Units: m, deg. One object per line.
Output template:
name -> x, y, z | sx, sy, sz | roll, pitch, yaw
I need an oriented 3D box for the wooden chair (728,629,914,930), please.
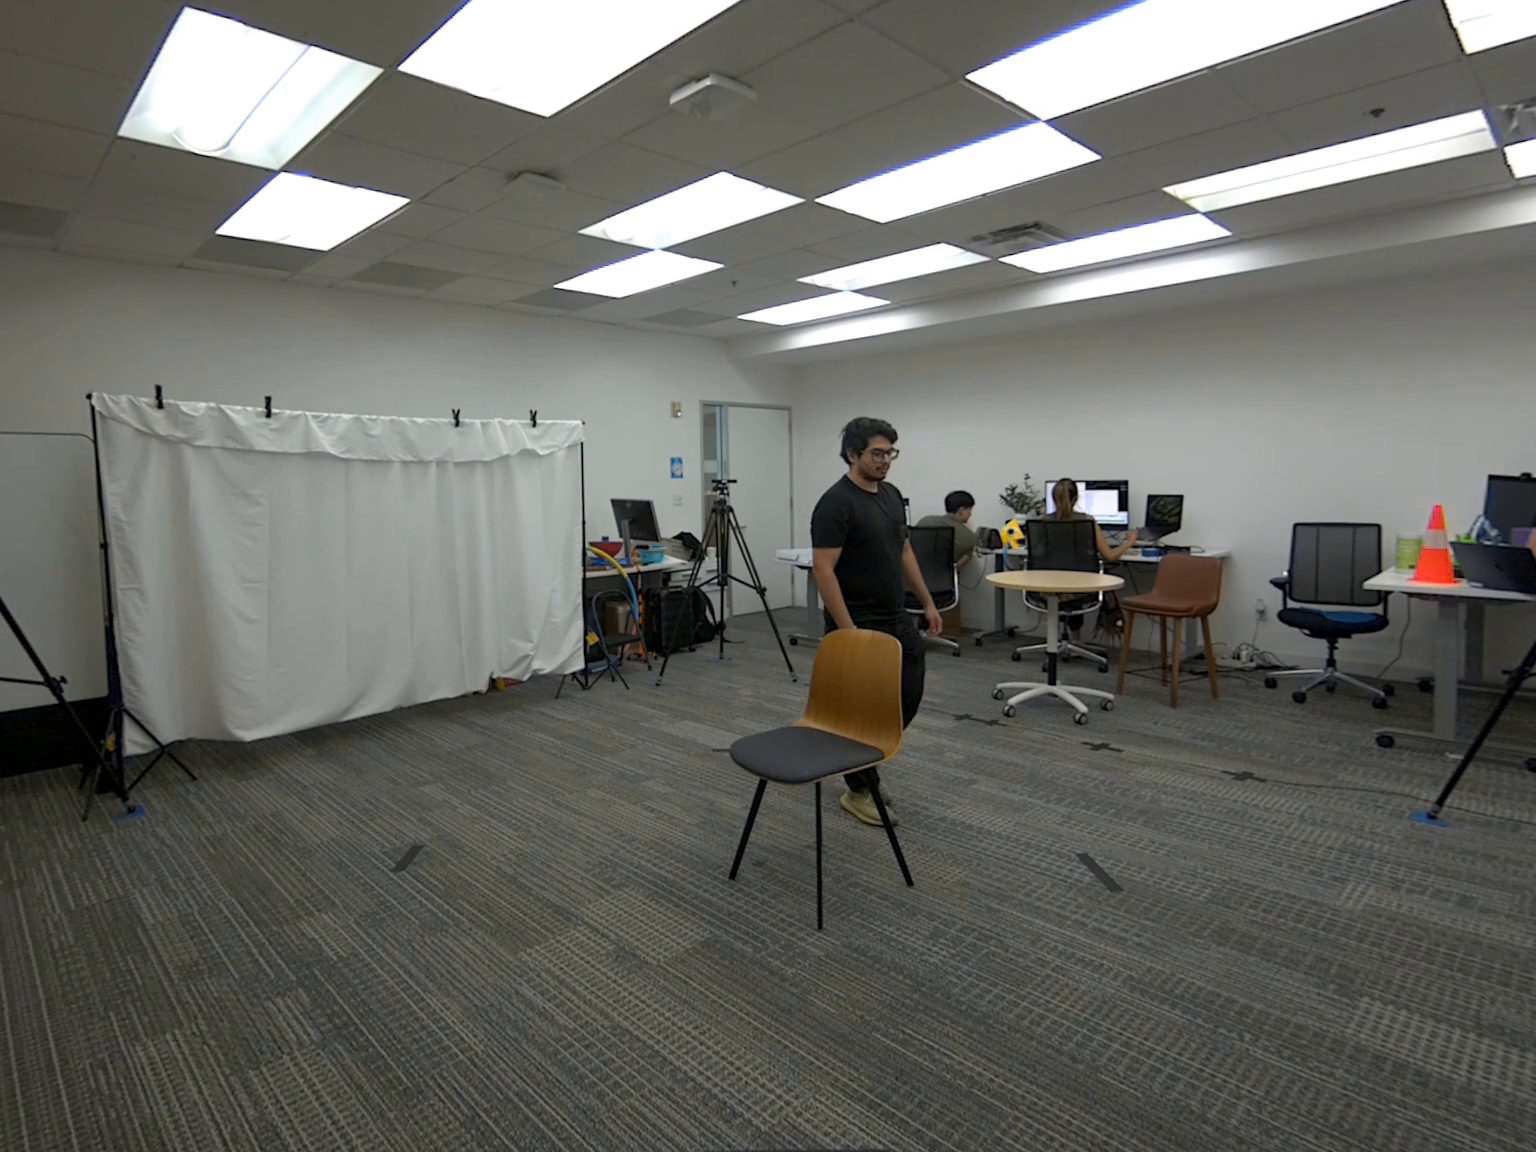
wooden chair -> 0.170, 0.637, 2.918 | 0.508, 0.877, 0.493 | 2, 2, -40
